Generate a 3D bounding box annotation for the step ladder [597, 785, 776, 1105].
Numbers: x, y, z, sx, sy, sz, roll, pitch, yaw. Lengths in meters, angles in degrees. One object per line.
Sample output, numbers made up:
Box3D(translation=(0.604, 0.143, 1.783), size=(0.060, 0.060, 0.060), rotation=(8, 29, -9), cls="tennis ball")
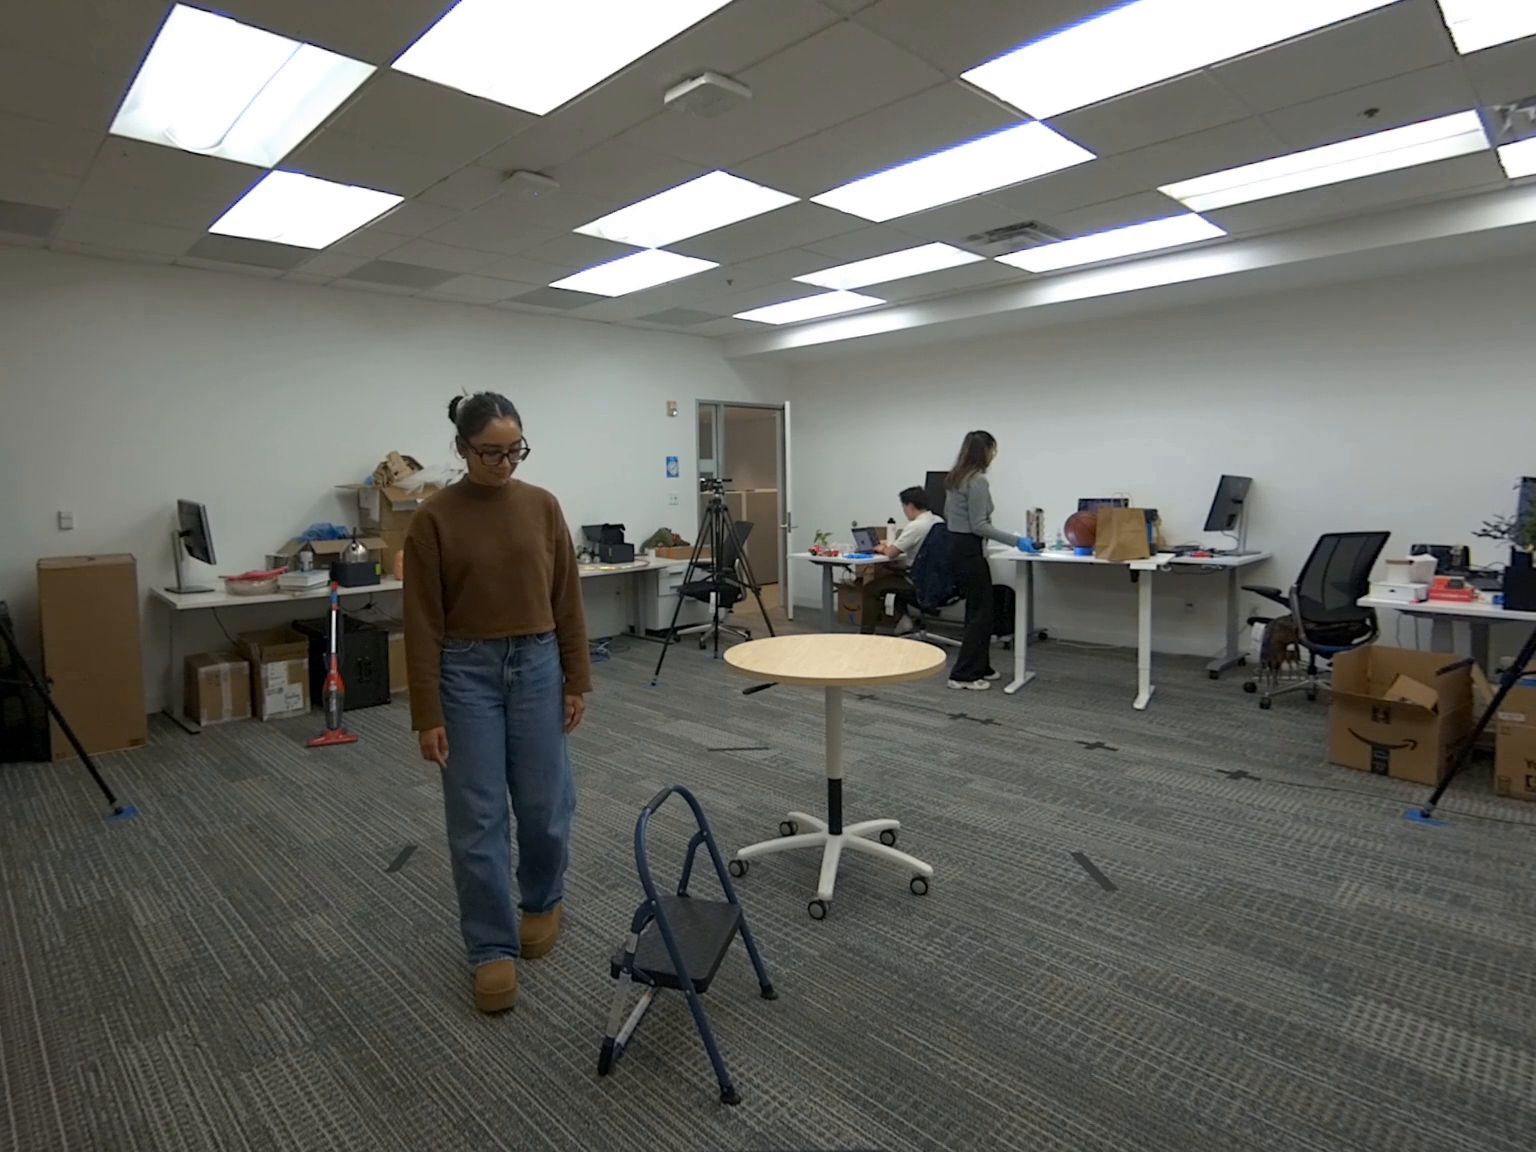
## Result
Box3D(translation=(-0.189, 0.860, 2.142), size=(0.354, 0.604, 0.426), rotation=(0, 5, 14), cls="step ladder")
